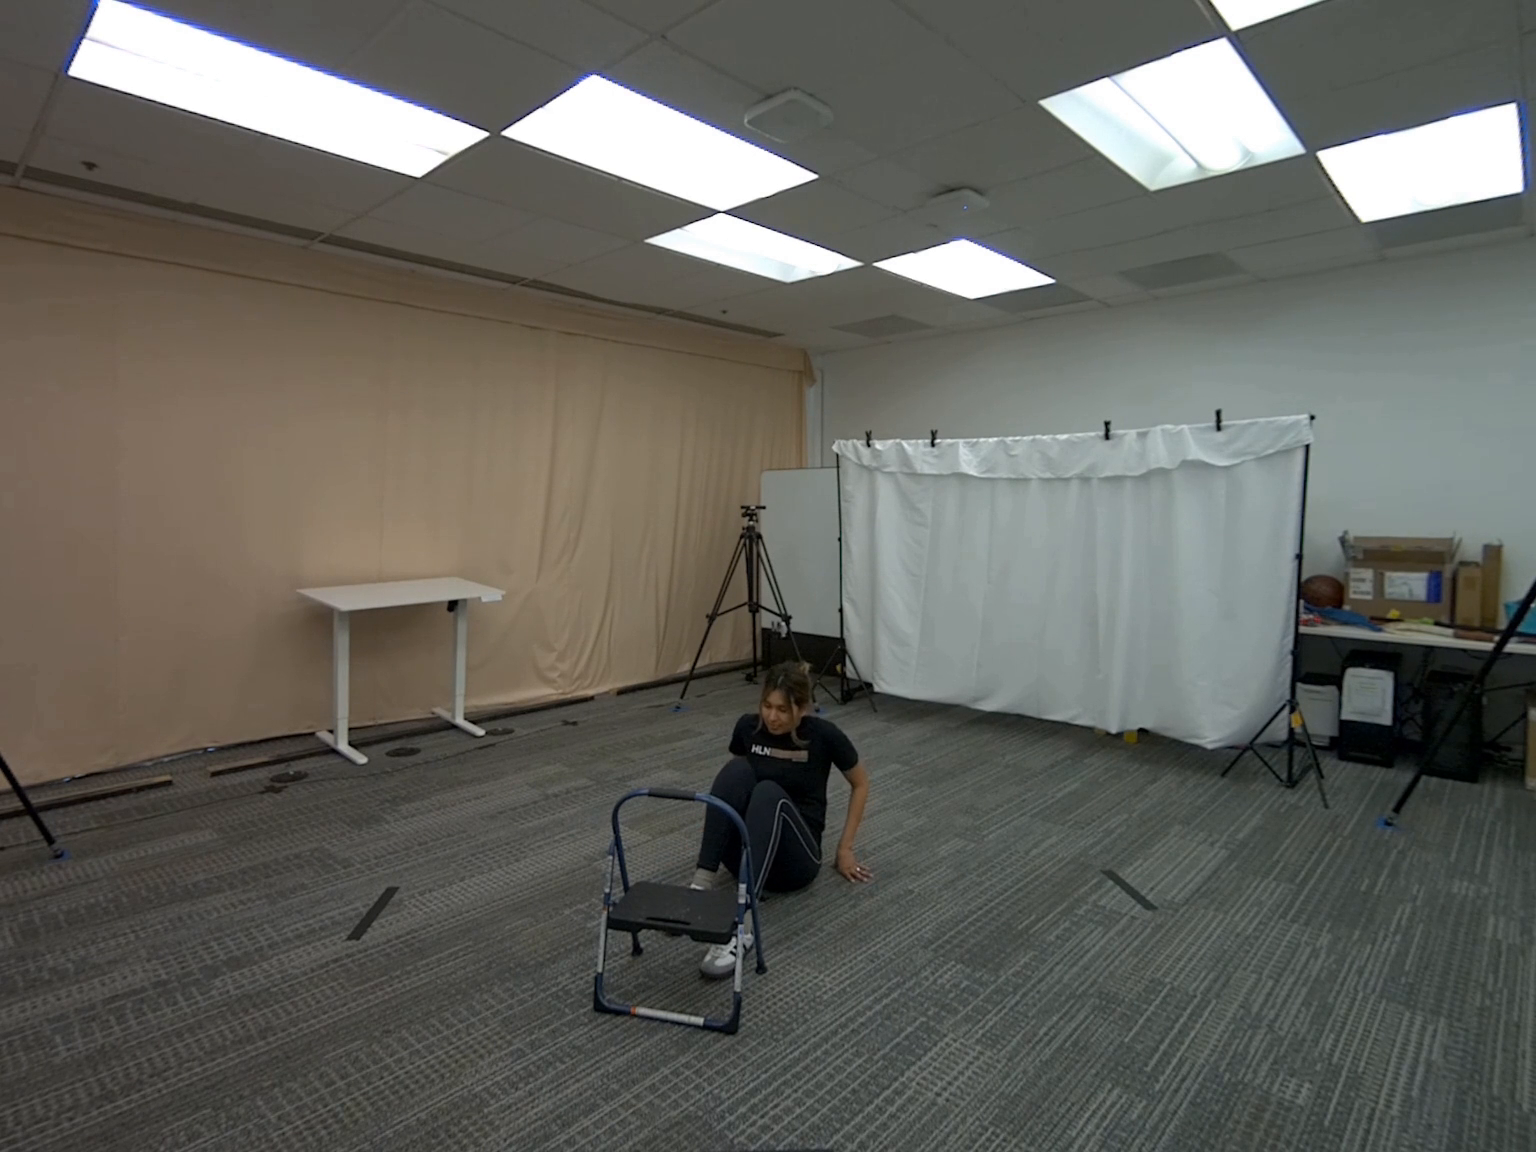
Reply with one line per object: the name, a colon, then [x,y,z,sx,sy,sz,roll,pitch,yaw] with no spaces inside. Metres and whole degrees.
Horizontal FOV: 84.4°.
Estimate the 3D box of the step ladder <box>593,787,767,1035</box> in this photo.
step ladder: [-0.252,0.891,2.410,0.437,0.605,0.344,1,3,14]
